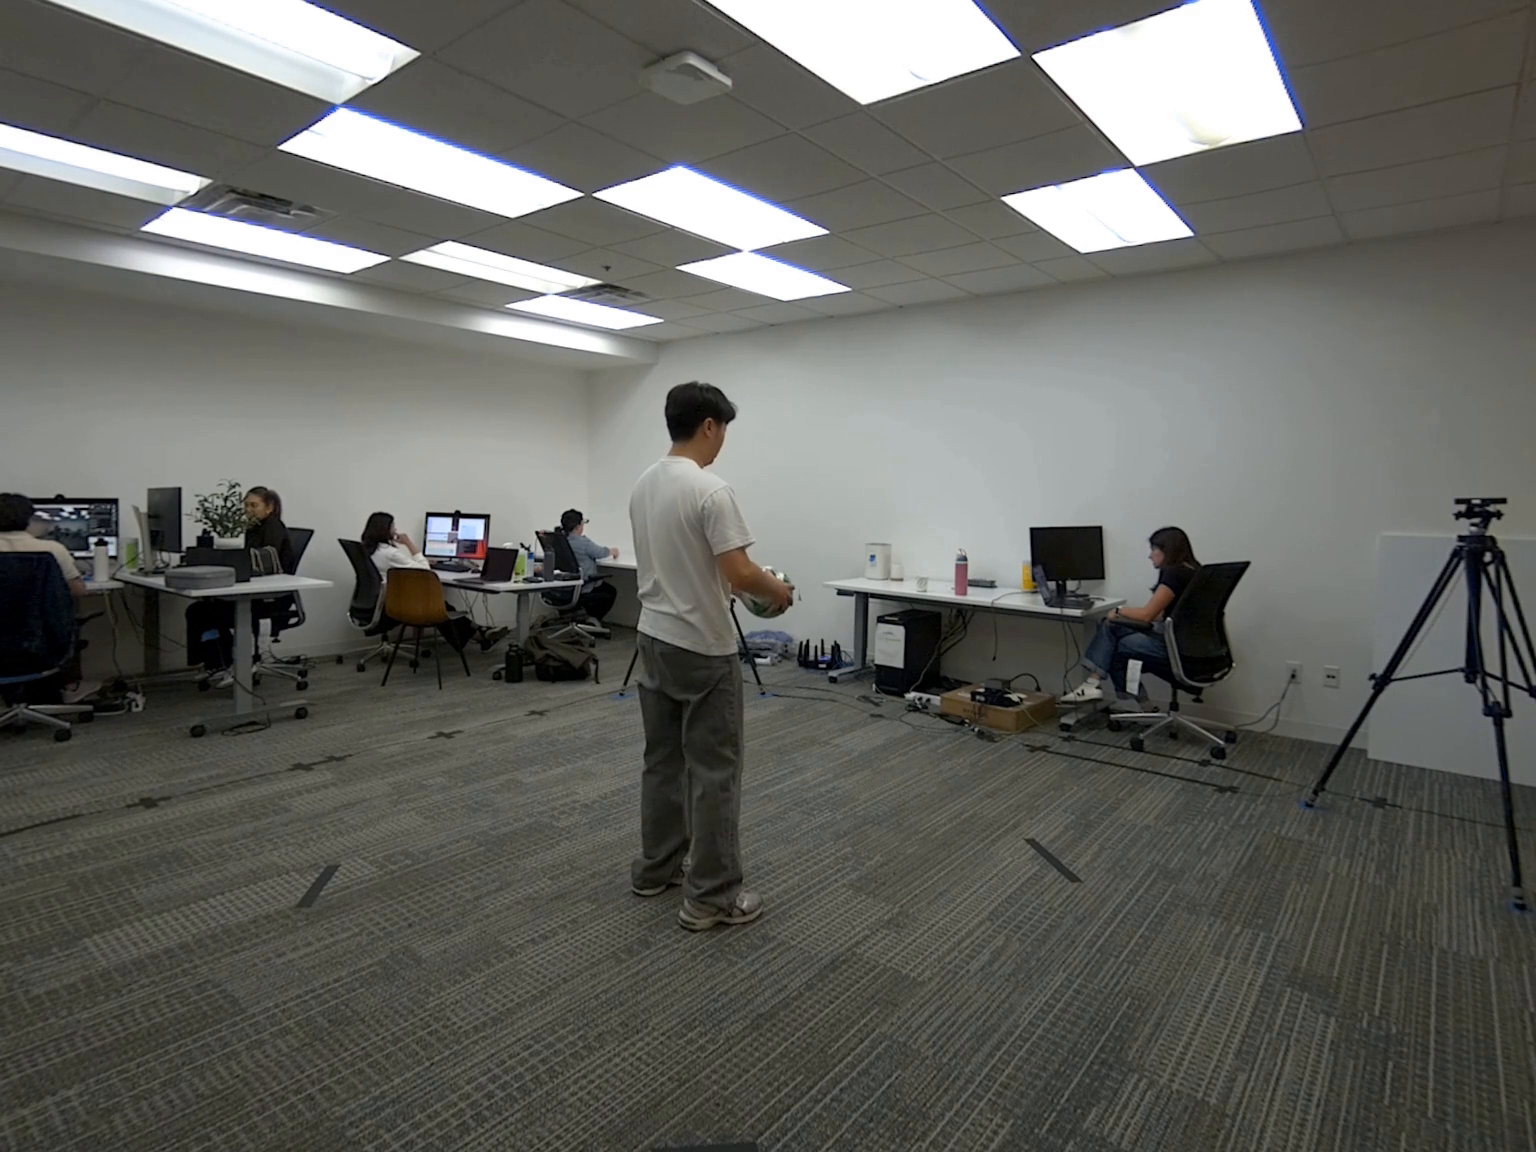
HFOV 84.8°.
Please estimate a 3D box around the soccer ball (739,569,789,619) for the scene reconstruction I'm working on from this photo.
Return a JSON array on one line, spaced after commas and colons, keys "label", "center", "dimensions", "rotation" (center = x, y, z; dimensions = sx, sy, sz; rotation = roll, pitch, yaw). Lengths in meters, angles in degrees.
[{"label": "soccer ball", "center": [-0.012, 0.074, 3.048], "dimensions": [0.187, 0.187, 0.188], "rotation": [1, 4, -2]}]
